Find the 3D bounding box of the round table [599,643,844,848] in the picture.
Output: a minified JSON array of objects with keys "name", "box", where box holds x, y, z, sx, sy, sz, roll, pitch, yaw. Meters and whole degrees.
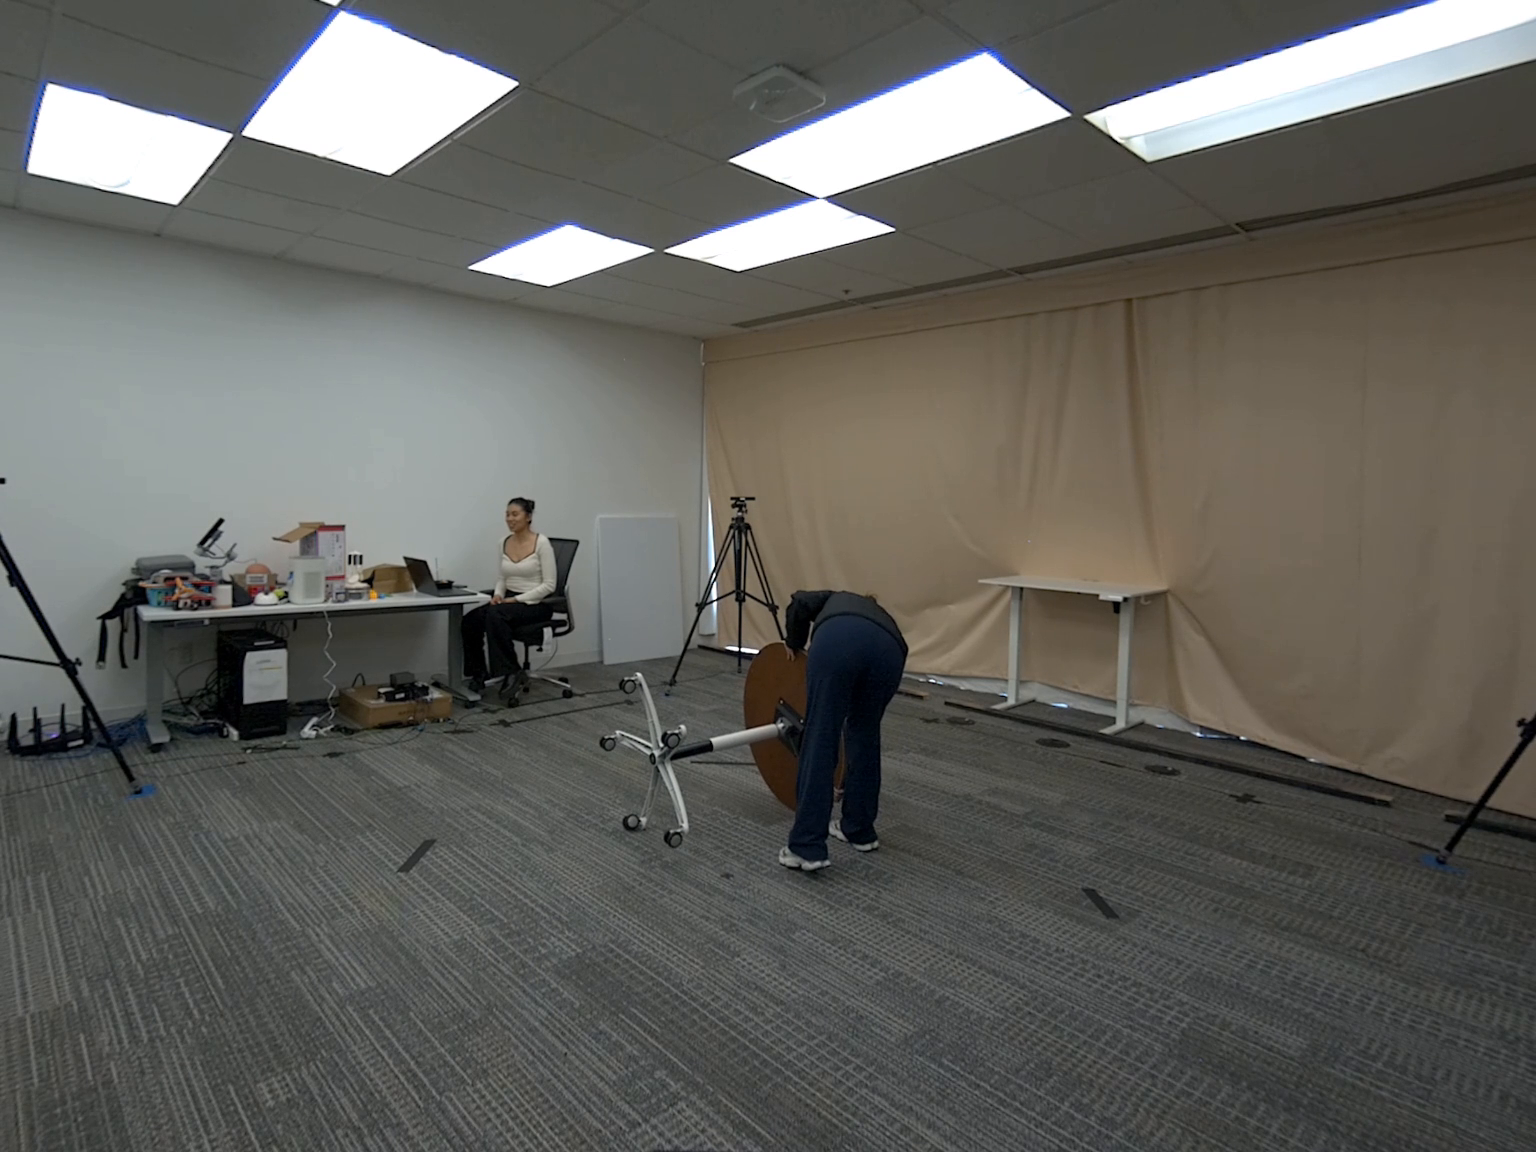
[{"name":"round table","box":[-0.209,0.725,3.559,0.771,0.781,0.804,-7,8,-35]}]
